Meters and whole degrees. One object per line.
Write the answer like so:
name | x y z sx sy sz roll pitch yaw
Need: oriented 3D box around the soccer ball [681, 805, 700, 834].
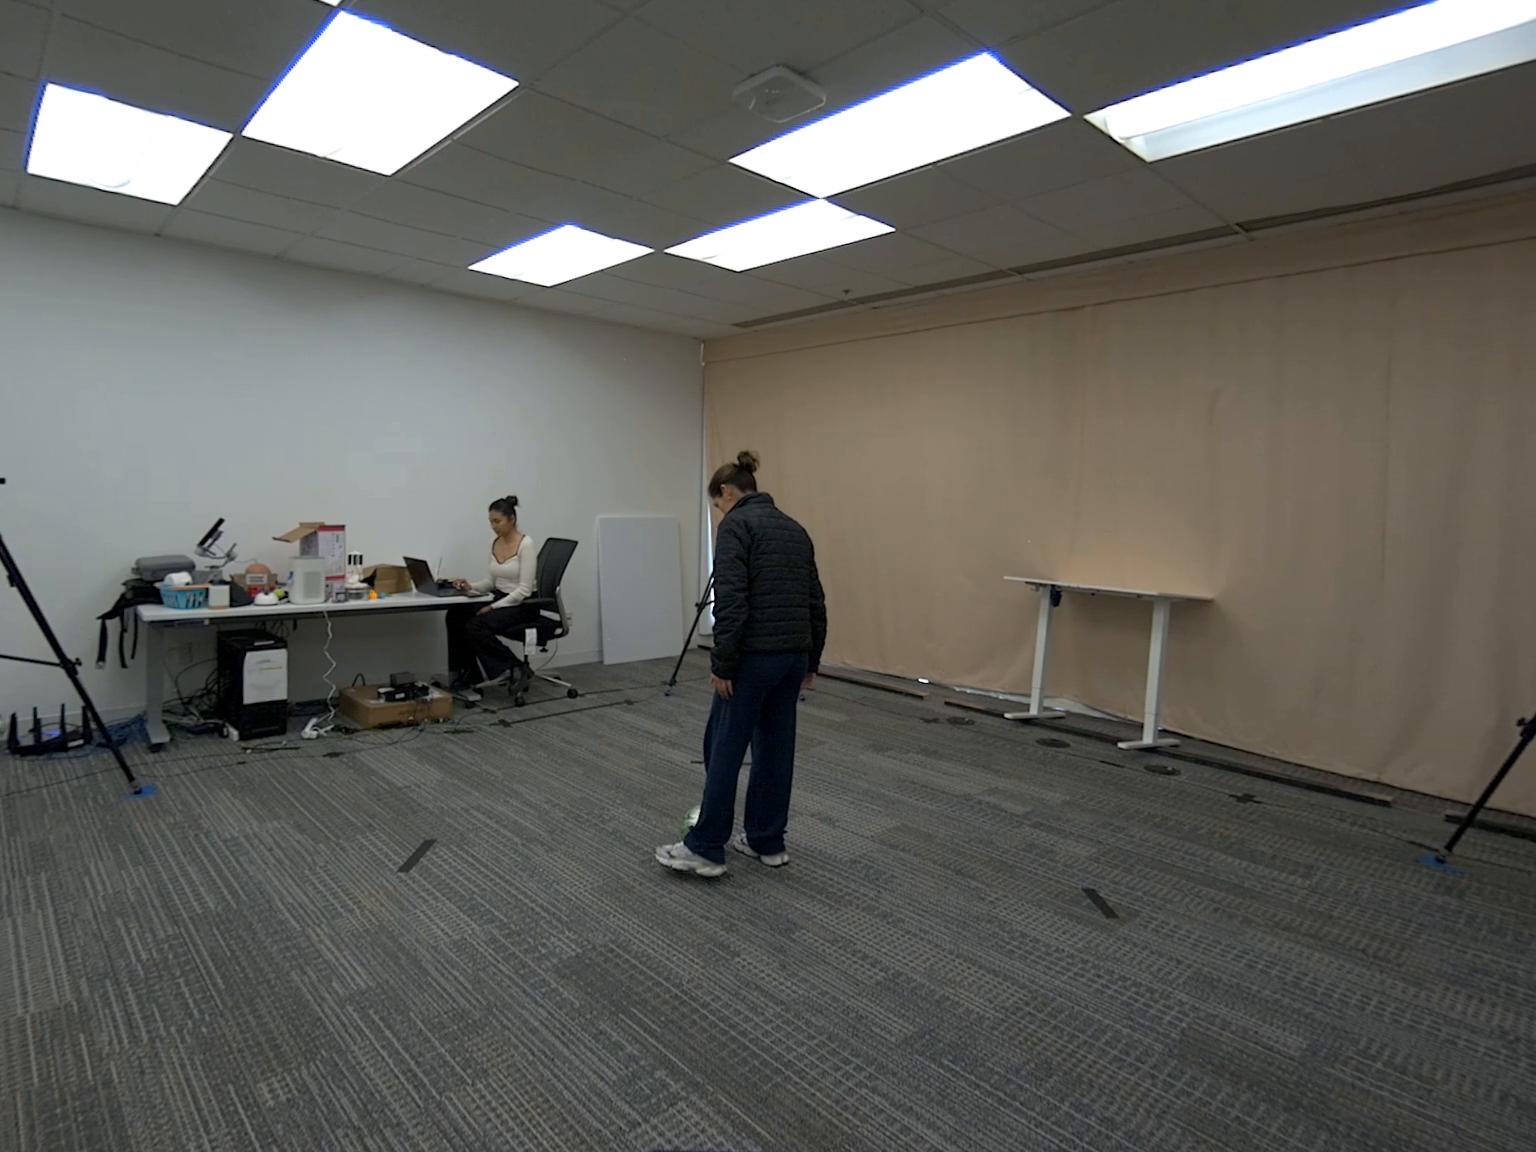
soccer ball | -0.245 0.988 3.292 0.187 0.187 0.188 1 4 -1
